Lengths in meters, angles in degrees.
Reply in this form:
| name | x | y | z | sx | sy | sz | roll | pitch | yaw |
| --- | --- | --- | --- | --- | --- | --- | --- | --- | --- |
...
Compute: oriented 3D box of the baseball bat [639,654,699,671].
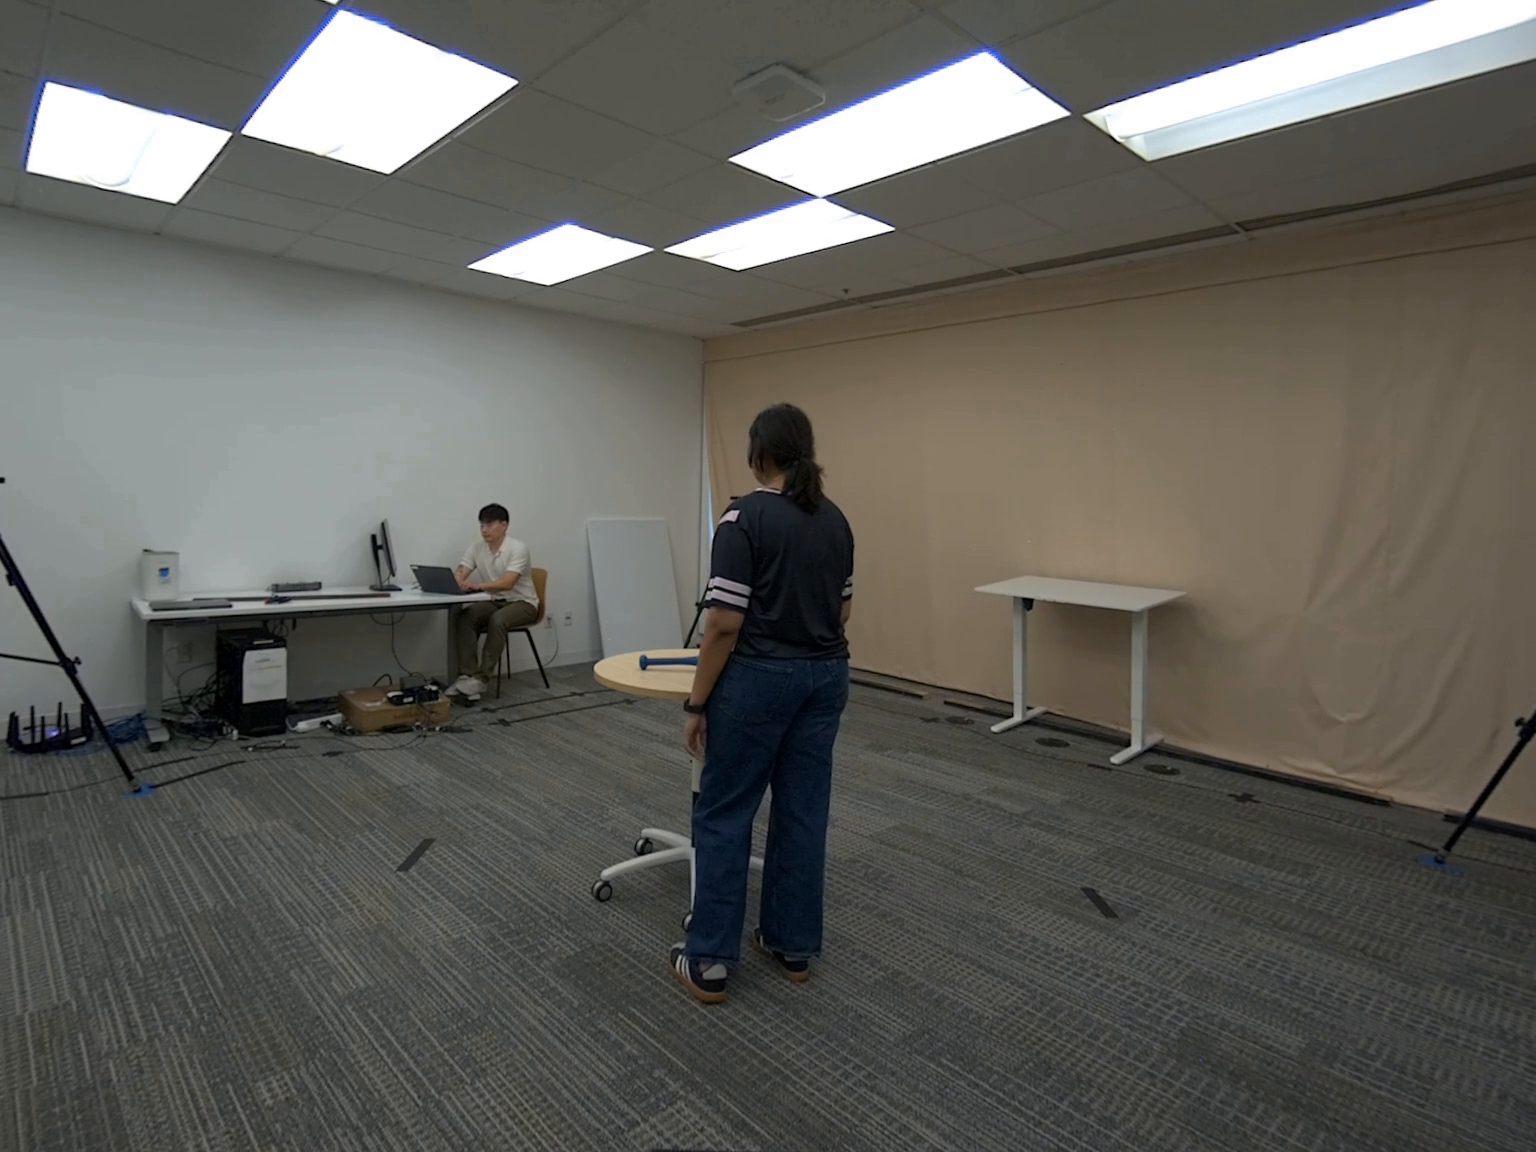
| name | x | y | z | sx | sy | sz | roll | pitch | yaw |
| --- | --- | --- | --- | --- | --- | --- | --- | --- | --- |
| baseball bat | -0.181 | 0.301 | 2.925 | 0.543 | 0.089 | 0.089 | 0 | 4 | 0 |
